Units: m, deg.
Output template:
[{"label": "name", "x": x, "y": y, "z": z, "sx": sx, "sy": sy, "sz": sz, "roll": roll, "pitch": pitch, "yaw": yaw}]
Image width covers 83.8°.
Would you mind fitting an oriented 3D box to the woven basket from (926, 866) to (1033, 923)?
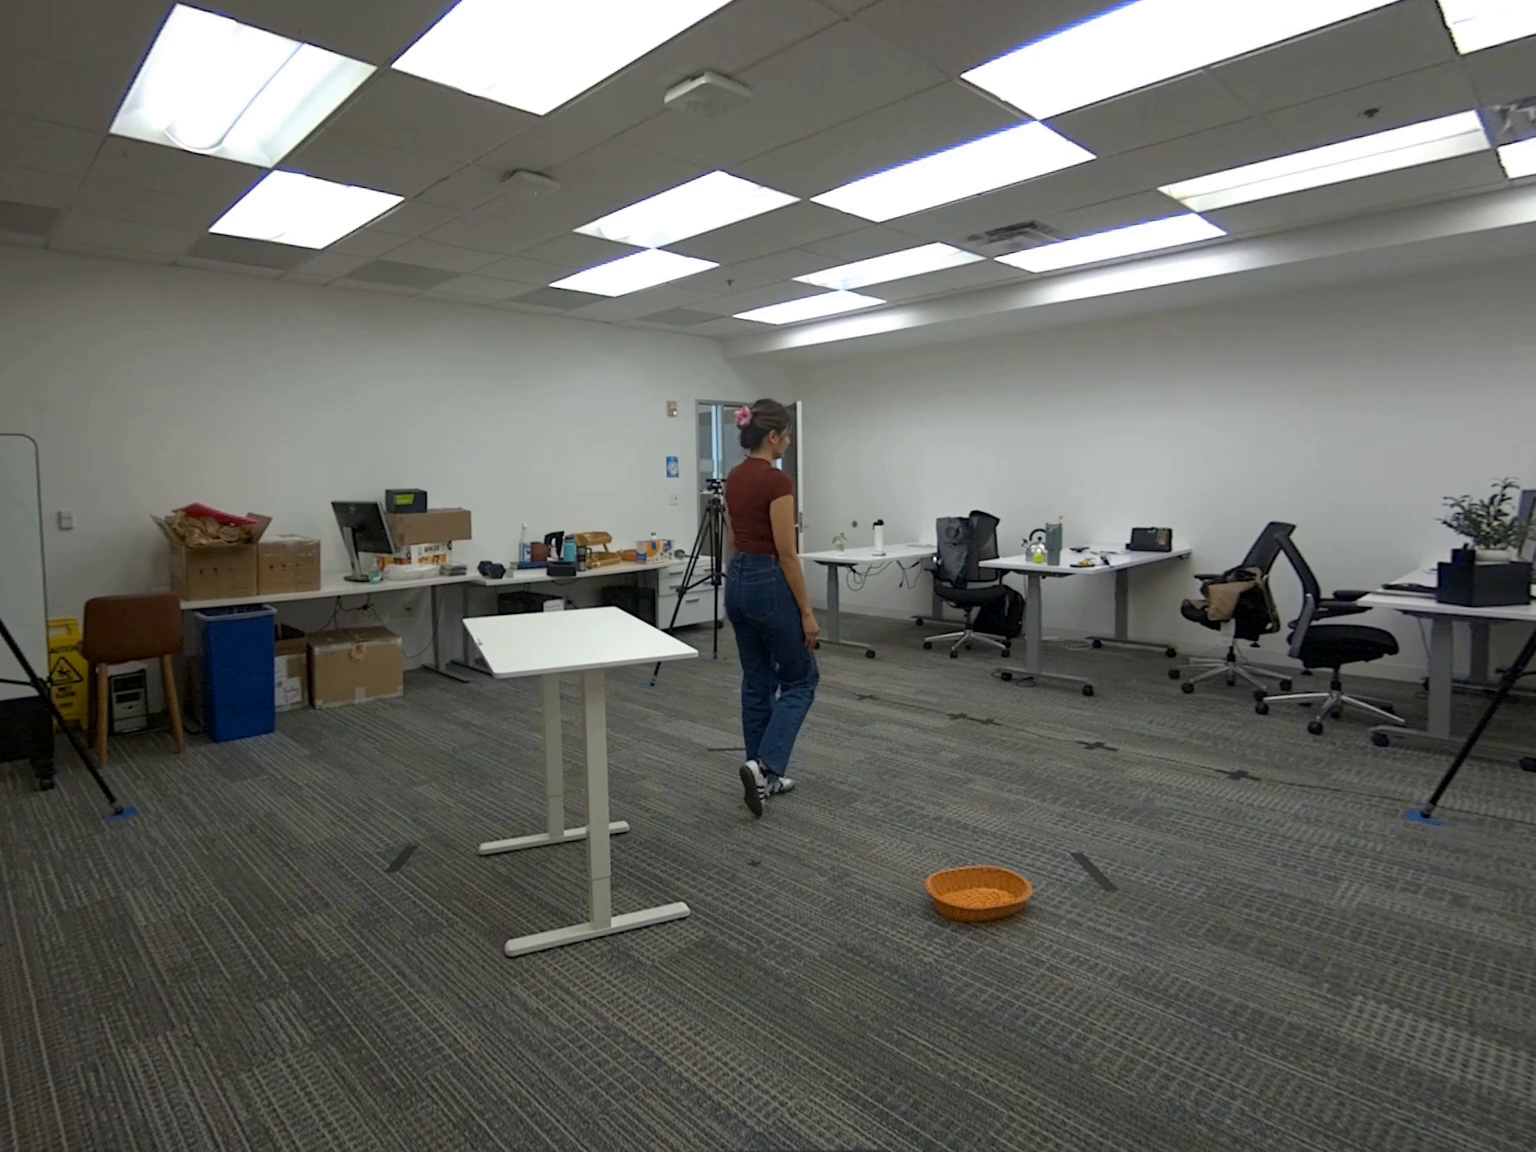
[{"label": "woven basket", "x": 0.683, "y": 1.034, "z": 2.763, "sx": 0.346, "sy": 0.073, "sz": 0.257, "roll": -2, "pitch": 7, "yaw": -15}]
